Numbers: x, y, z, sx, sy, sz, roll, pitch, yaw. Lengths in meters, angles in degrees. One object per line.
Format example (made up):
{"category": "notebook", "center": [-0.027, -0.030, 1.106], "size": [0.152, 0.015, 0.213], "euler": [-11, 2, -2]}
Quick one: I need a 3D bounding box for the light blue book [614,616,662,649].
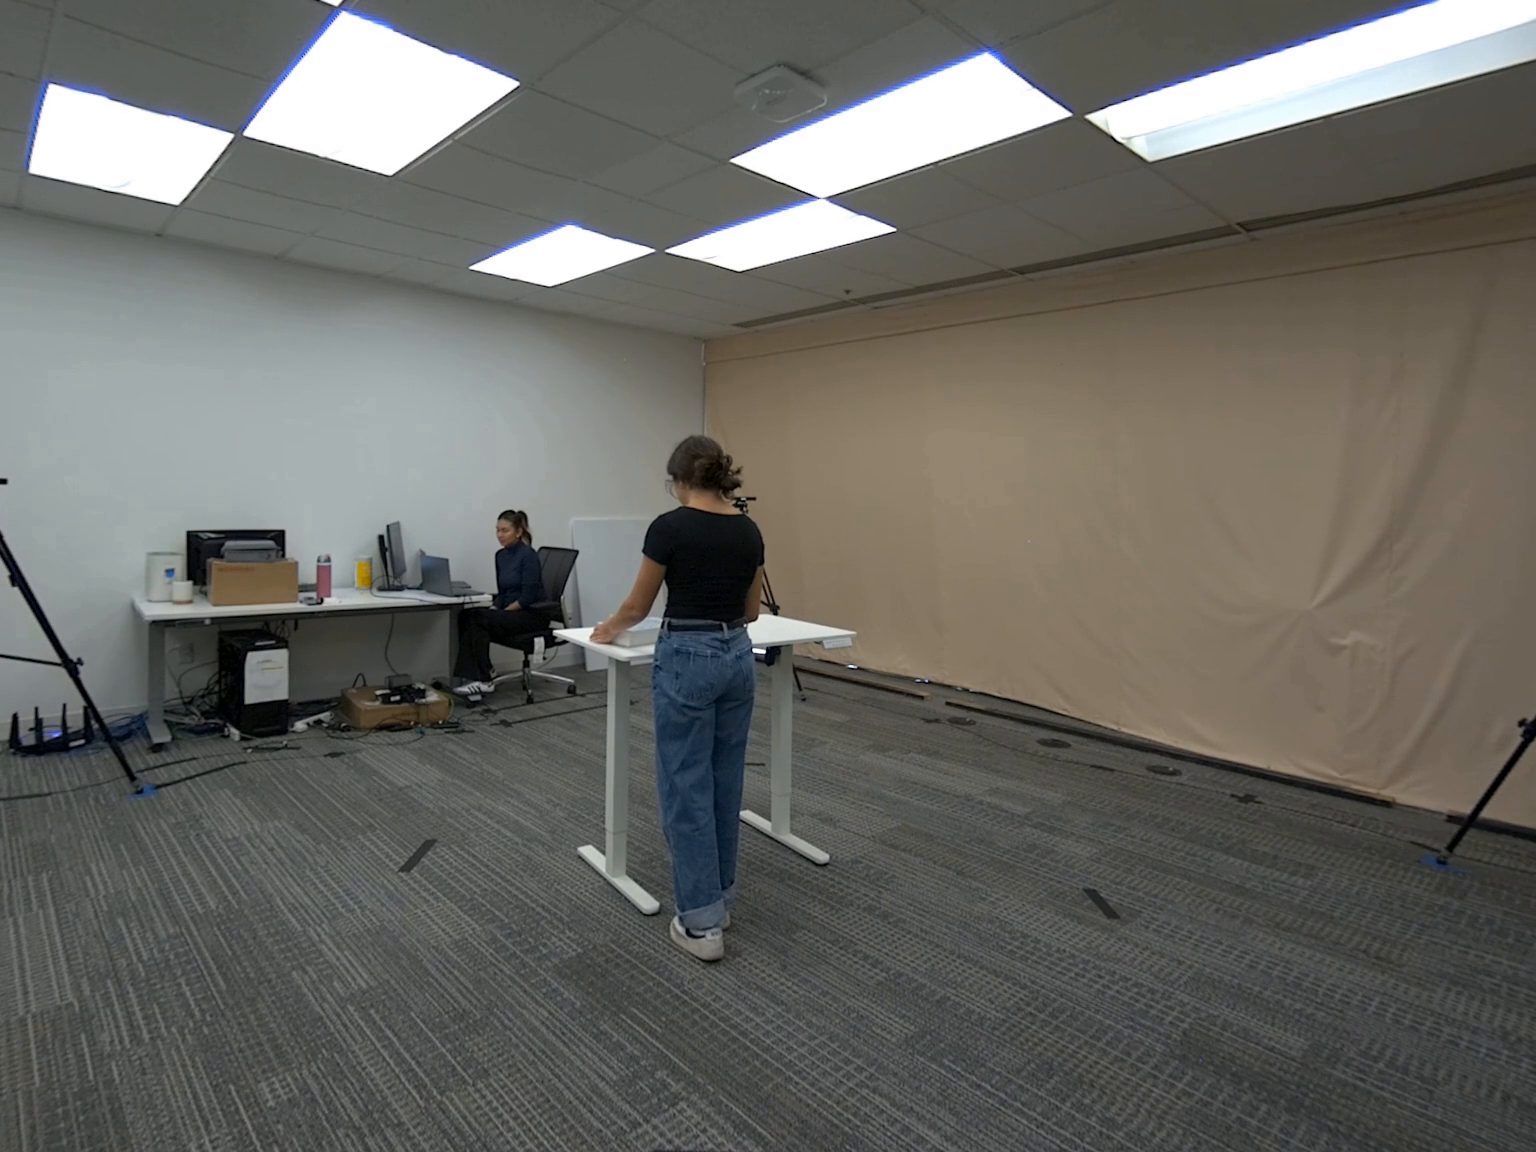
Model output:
{"category": "light blue book", "center": [-0.458, 0.202, 2.994], "size": [0.196, 0.059, 0.255], "euler": [9, 9, 39]}
